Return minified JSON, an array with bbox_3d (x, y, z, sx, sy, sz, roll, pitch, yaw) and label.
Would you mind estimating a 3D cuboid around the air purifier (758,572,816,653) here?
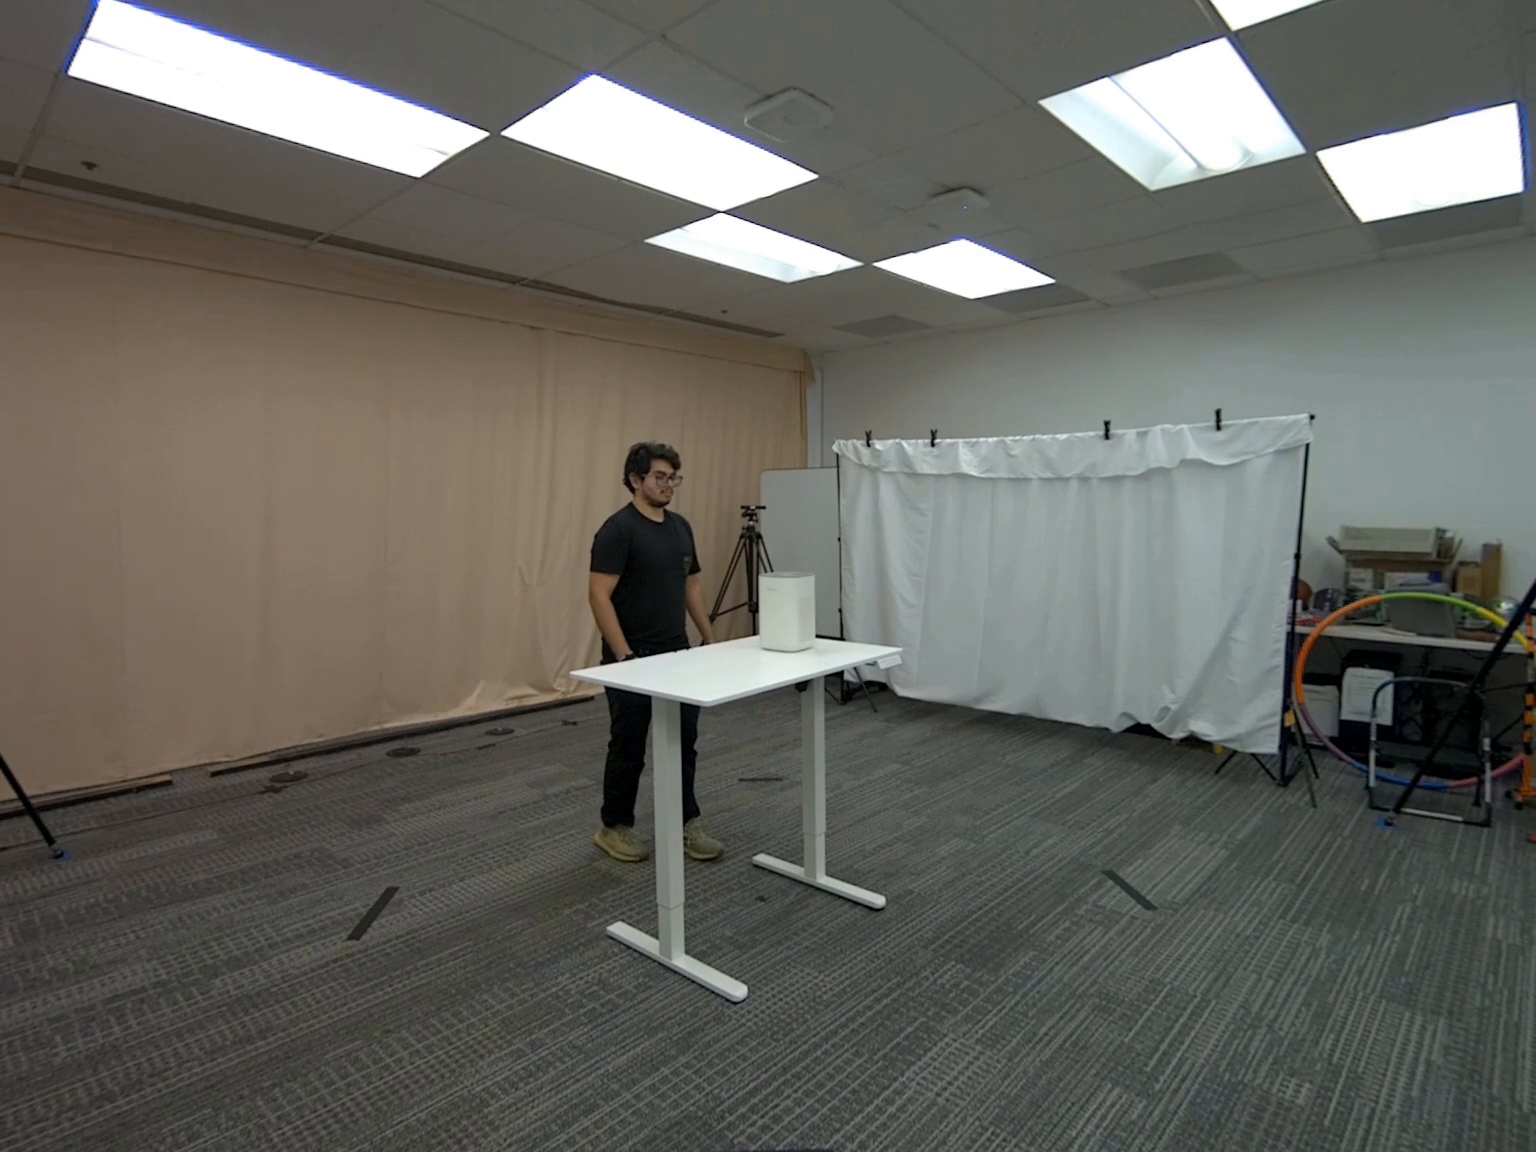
[{"bbox_3d":[0.072,0.125,2.981,0.176,0.265,0.166,2,4,36],"label":"air purifier"}]
